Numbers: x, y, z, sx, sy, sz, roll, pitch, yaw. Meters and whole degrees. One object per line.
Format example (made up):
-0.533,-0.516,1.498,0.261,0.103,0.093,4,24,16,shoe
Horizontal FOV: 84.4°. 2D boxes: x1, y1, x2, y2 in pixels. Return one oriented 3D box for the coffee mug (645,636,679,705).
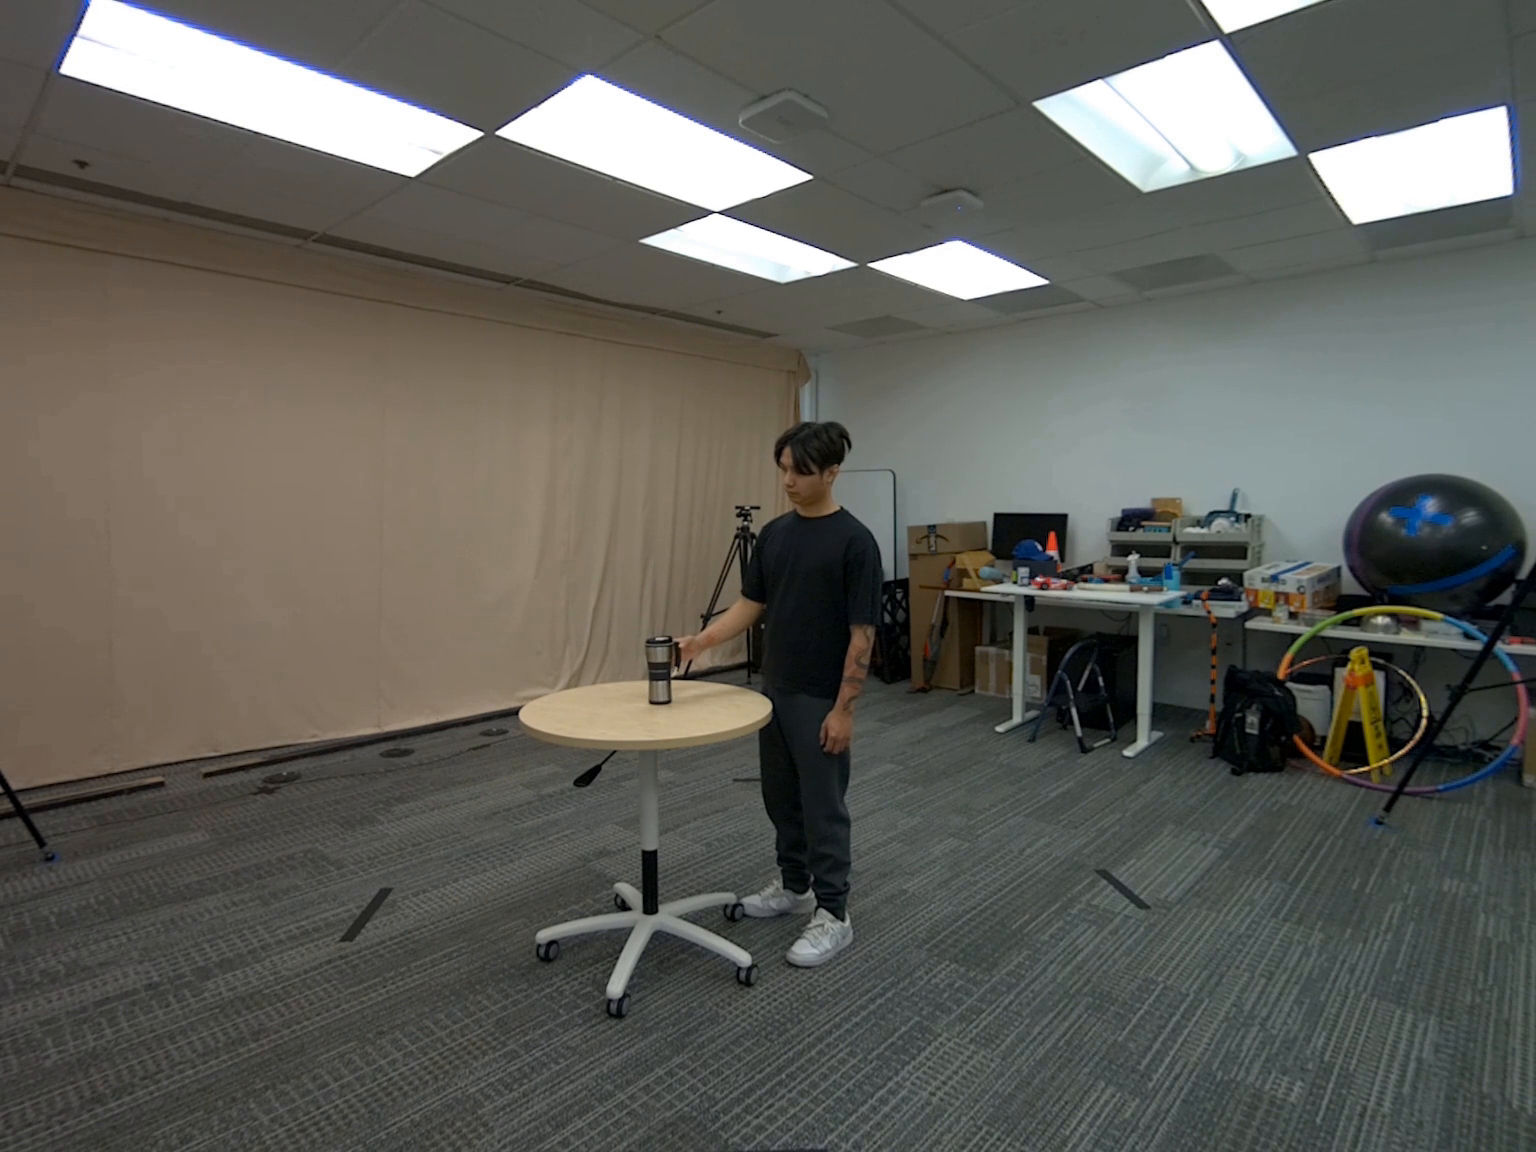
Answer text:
-0.312,0.296,2.621,0.119,0.203,0.090,-5,2,-24,coffee mug
